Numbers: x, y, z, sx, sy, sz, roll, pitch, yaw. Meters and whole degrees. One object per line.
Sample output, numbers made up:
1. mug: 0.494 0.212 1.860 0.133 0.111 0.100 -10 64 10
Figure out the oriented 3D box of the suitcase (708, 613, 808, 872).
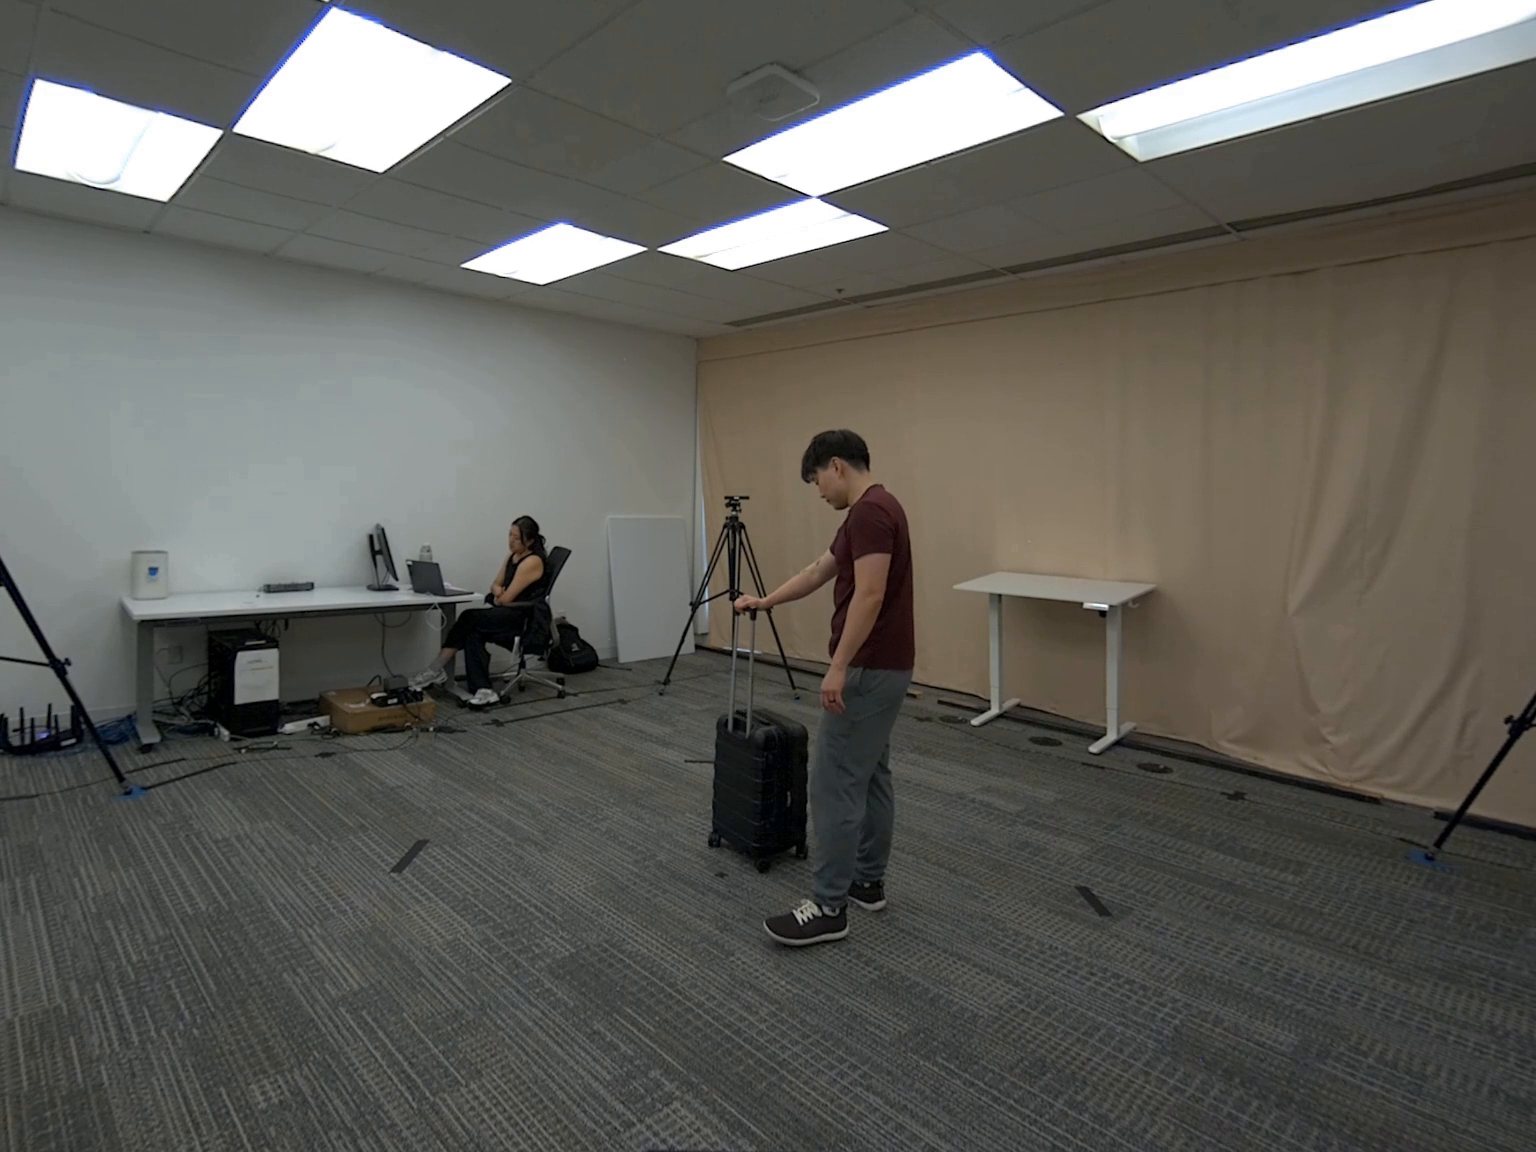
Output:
1. suitcase: -0.029 0.612 3.305 0.251 0.977 0.393 2 2 -33
